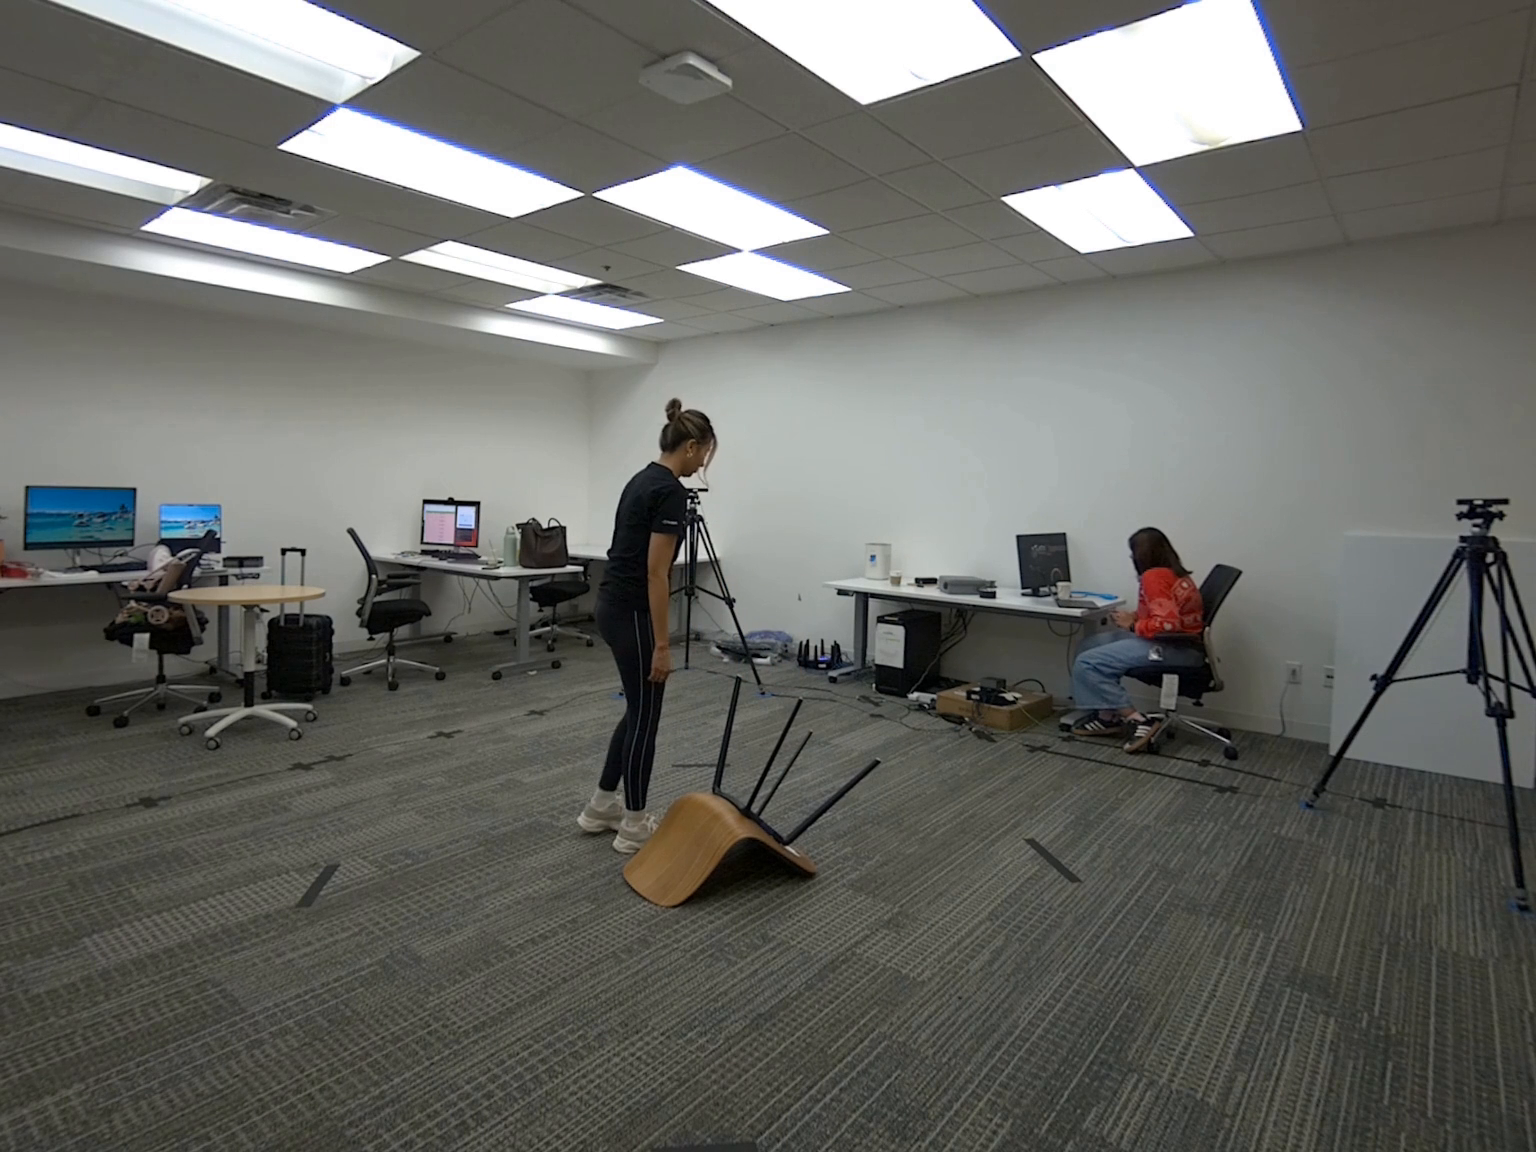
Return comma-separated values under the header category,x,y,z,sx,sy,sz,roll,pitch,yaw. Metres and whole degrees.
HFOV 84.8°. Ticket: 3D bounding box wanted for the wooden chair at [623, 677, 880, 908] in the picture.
category,x,y,z,sx,sy,sz,roll,pitch,yaw
wooden chair,-0.071,0.897,3.158,0.507,0.879,0.492,44,-18,-25
